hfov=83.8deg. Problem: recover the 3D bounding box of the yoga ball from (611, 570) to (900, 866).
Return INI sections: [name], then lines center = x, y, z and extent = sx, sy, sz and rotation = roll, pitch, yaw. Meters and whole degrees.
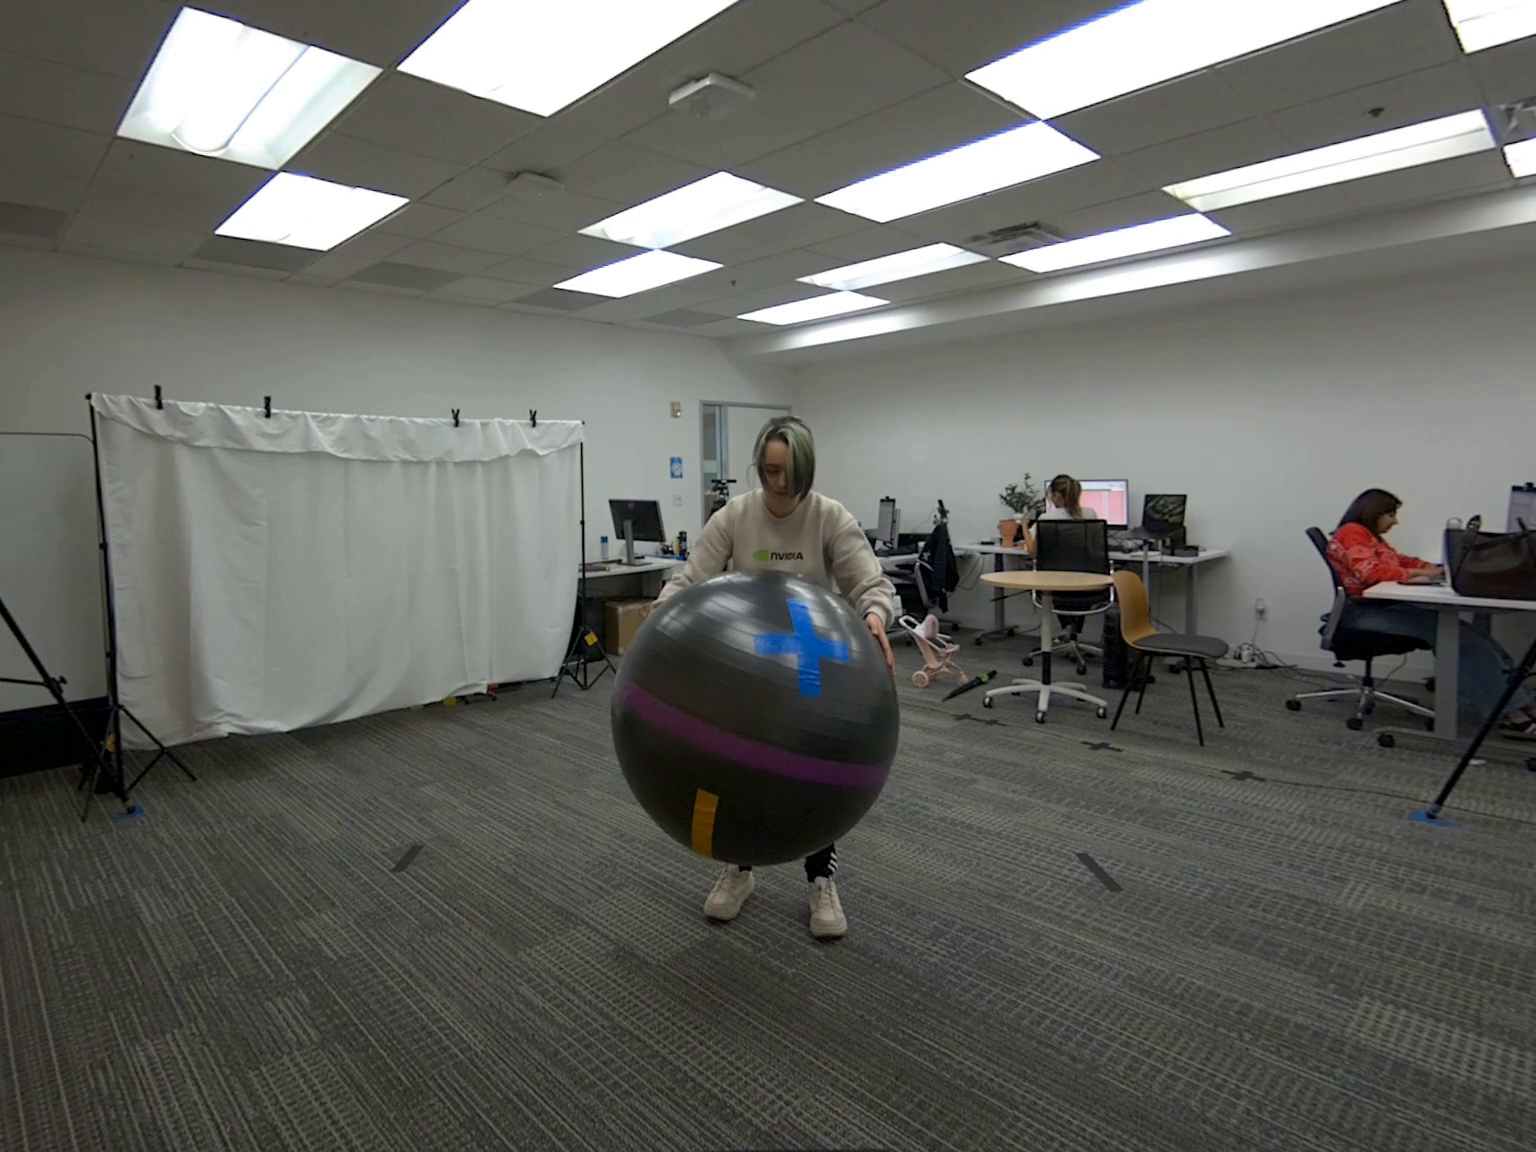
[yoga ball]
center = -0.031, 0.371, 2.255
extent = 0.757, 0.755, 0.762
rotation = -1, 5, -2
